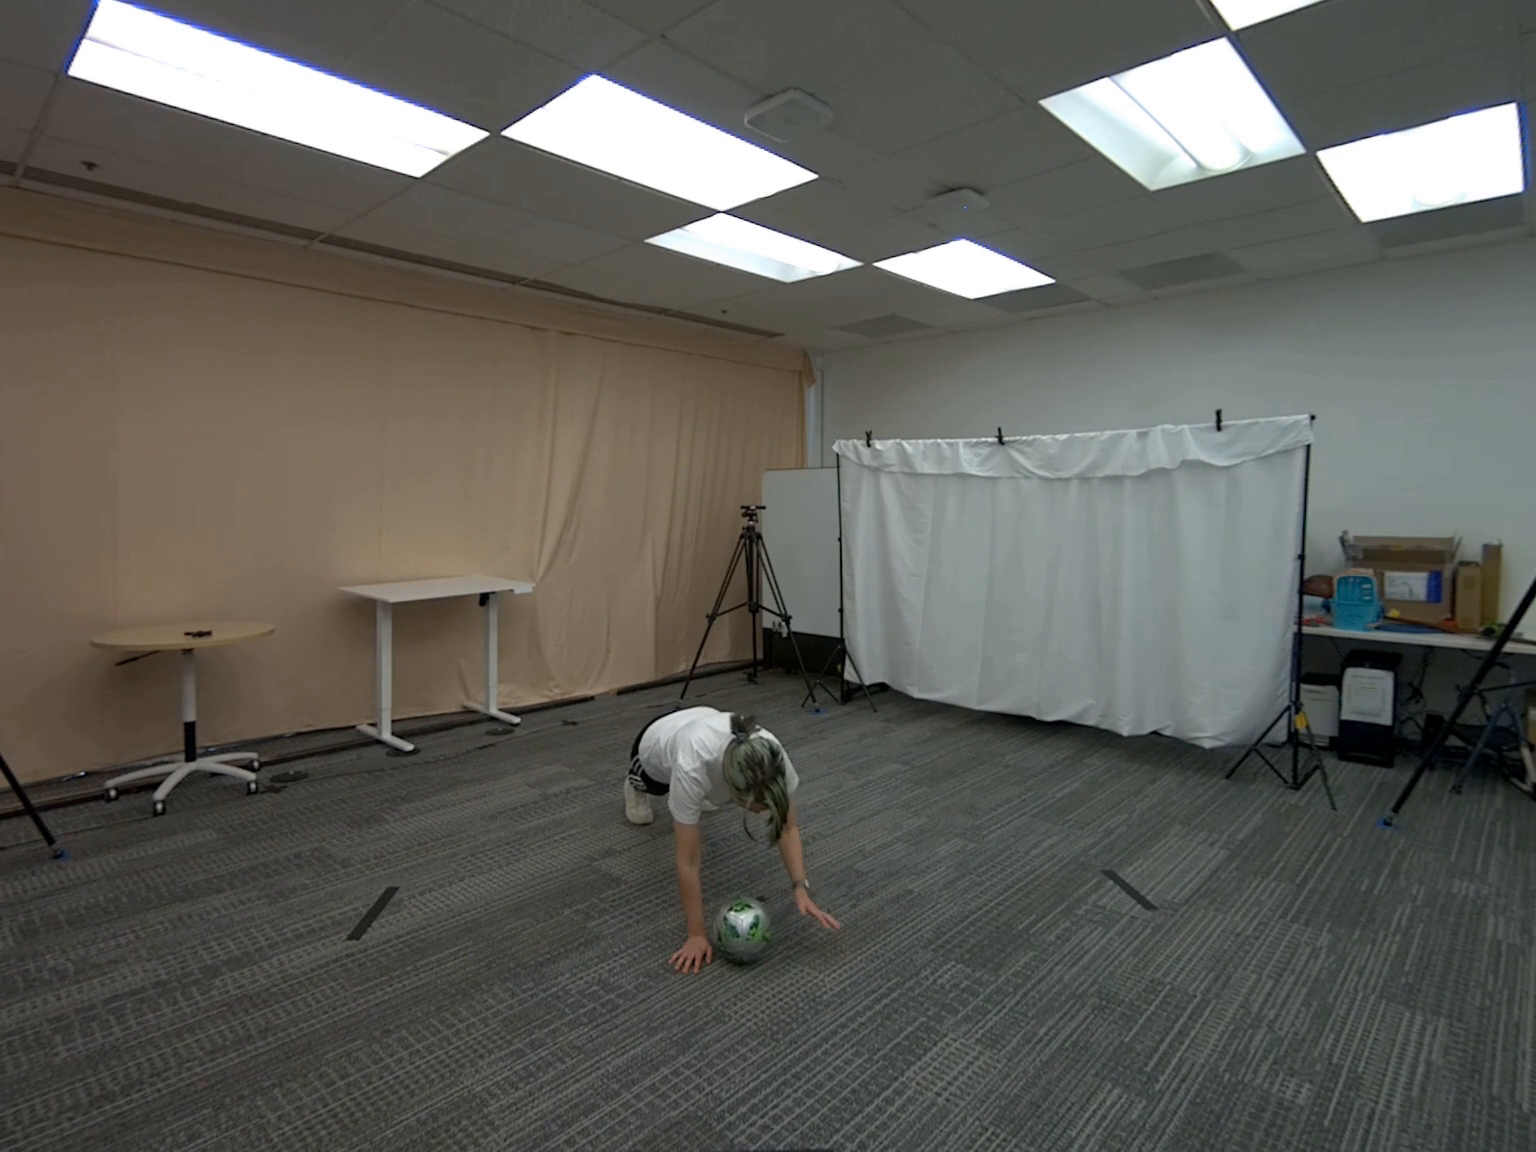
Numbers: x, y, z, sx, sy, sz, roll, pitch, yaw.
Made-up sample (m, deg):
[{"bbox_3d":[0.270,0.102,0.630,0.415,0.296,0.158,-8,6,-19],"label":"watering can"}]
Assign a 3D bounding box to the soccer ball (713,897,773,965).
[{"bbox_3d":[-0.077,1.084,2.583,0.187,0.187,0.188,0,4,-2],"label":"soccer ball"}]
